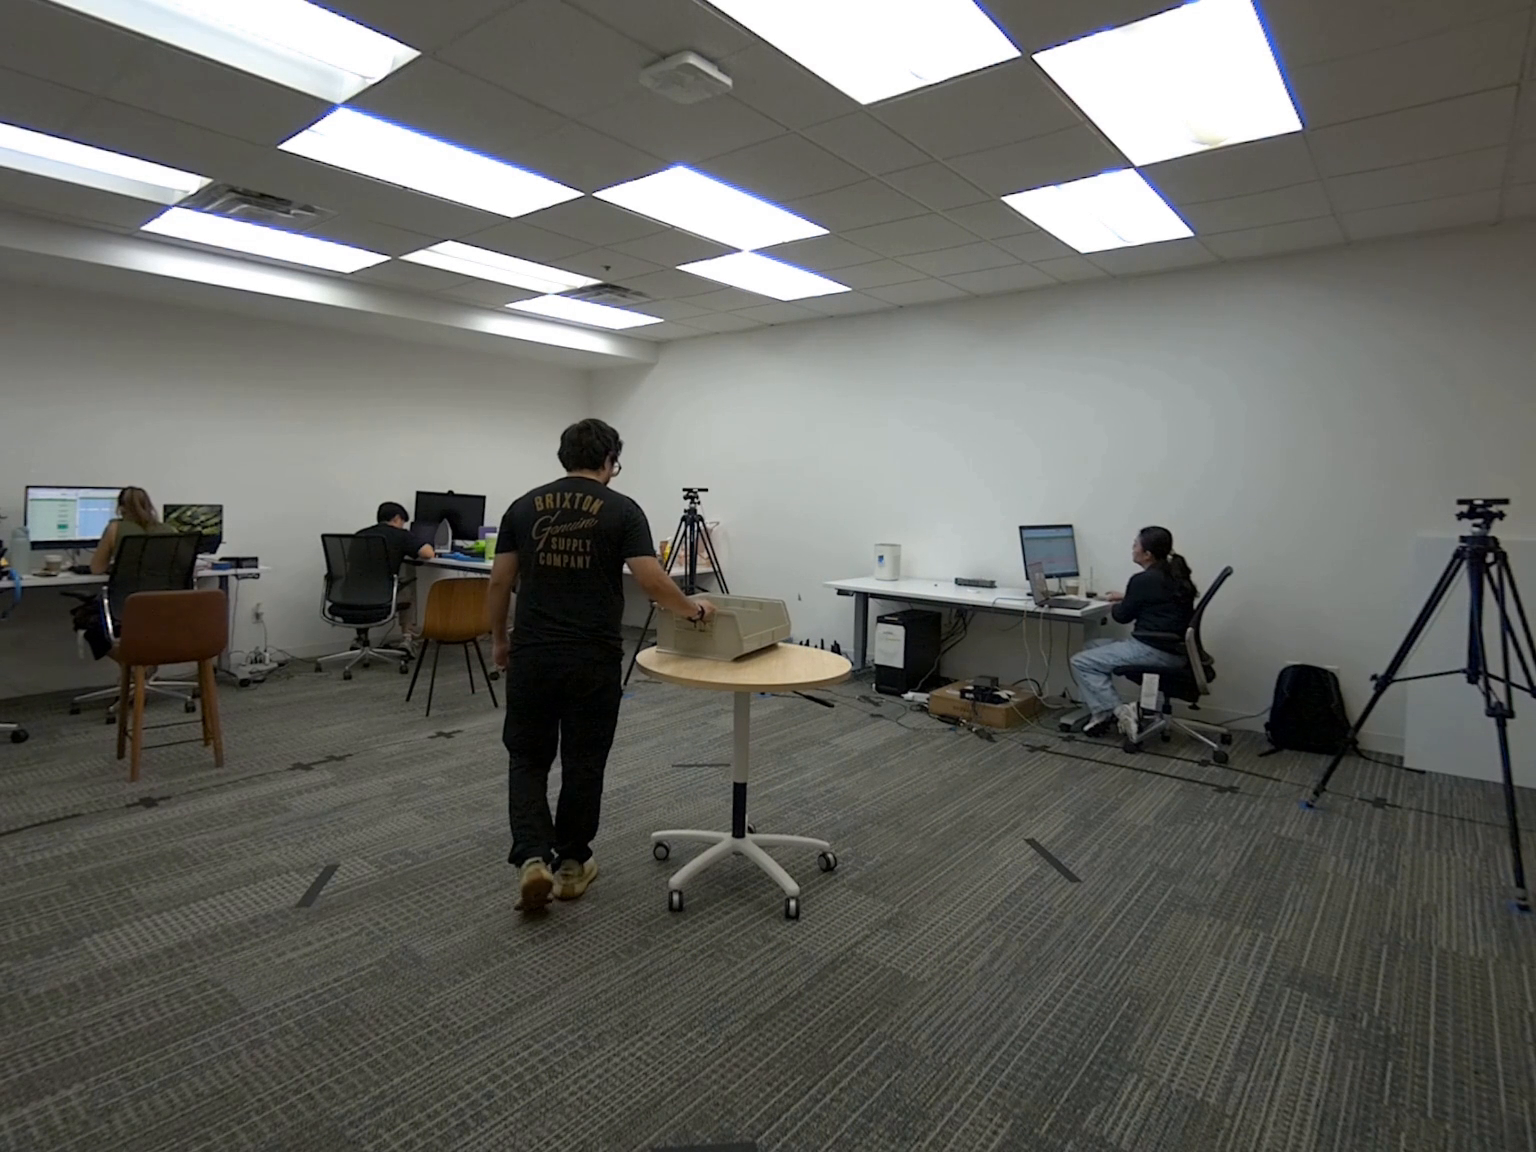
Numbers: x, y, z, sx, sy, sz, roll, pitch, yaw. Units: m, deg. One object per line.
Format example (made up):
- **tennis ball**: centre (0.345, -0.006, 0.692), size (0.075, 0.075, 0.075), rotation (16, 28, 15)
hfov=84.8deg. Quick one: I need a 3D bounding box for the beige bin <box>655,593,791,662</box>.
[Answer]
- **beige bin**: centre (-0.173, 0.185, 3.219), size (0.387, 0.188, 0.413), rotation (3, 6, 26)
